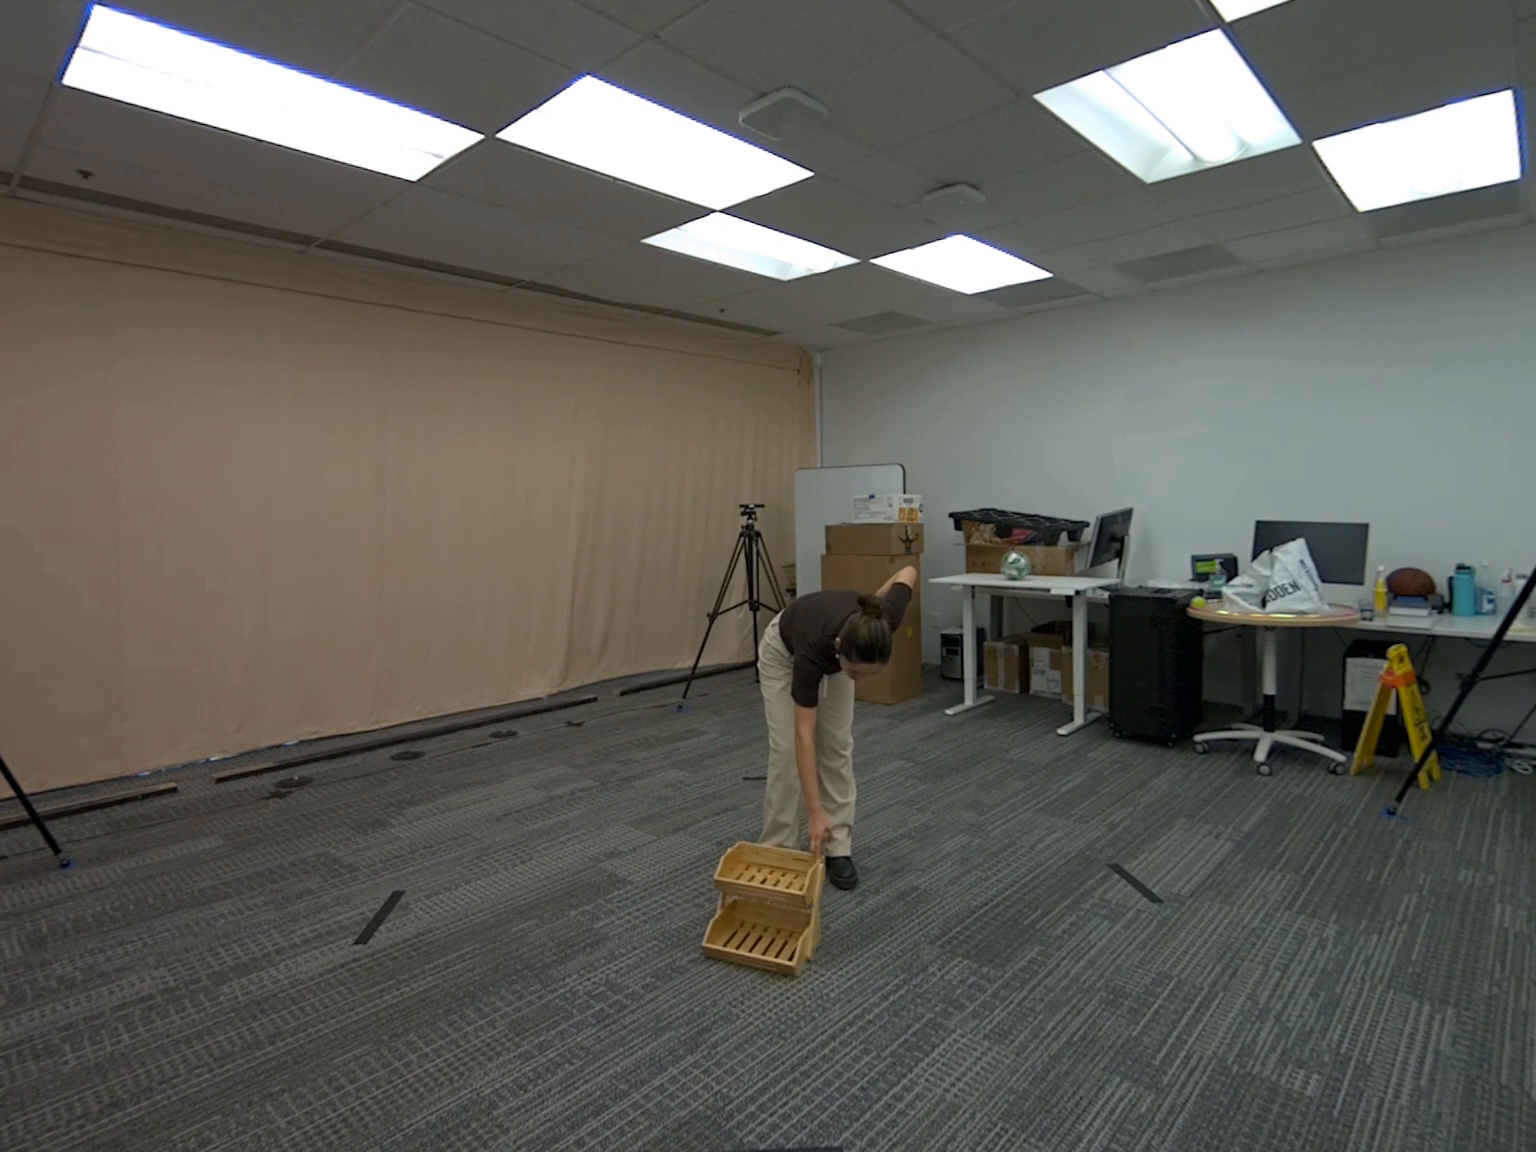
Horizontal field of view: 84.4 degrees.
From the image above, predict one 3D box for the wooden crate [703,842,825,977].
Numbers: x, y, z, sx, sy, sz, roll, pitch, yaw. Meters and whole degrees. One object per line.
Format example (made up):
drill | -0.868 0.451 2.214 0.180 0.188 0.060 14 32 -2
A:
wooden crate | -0.013 1.034 2.649 0.332 0.273 0.295 1 3 23
